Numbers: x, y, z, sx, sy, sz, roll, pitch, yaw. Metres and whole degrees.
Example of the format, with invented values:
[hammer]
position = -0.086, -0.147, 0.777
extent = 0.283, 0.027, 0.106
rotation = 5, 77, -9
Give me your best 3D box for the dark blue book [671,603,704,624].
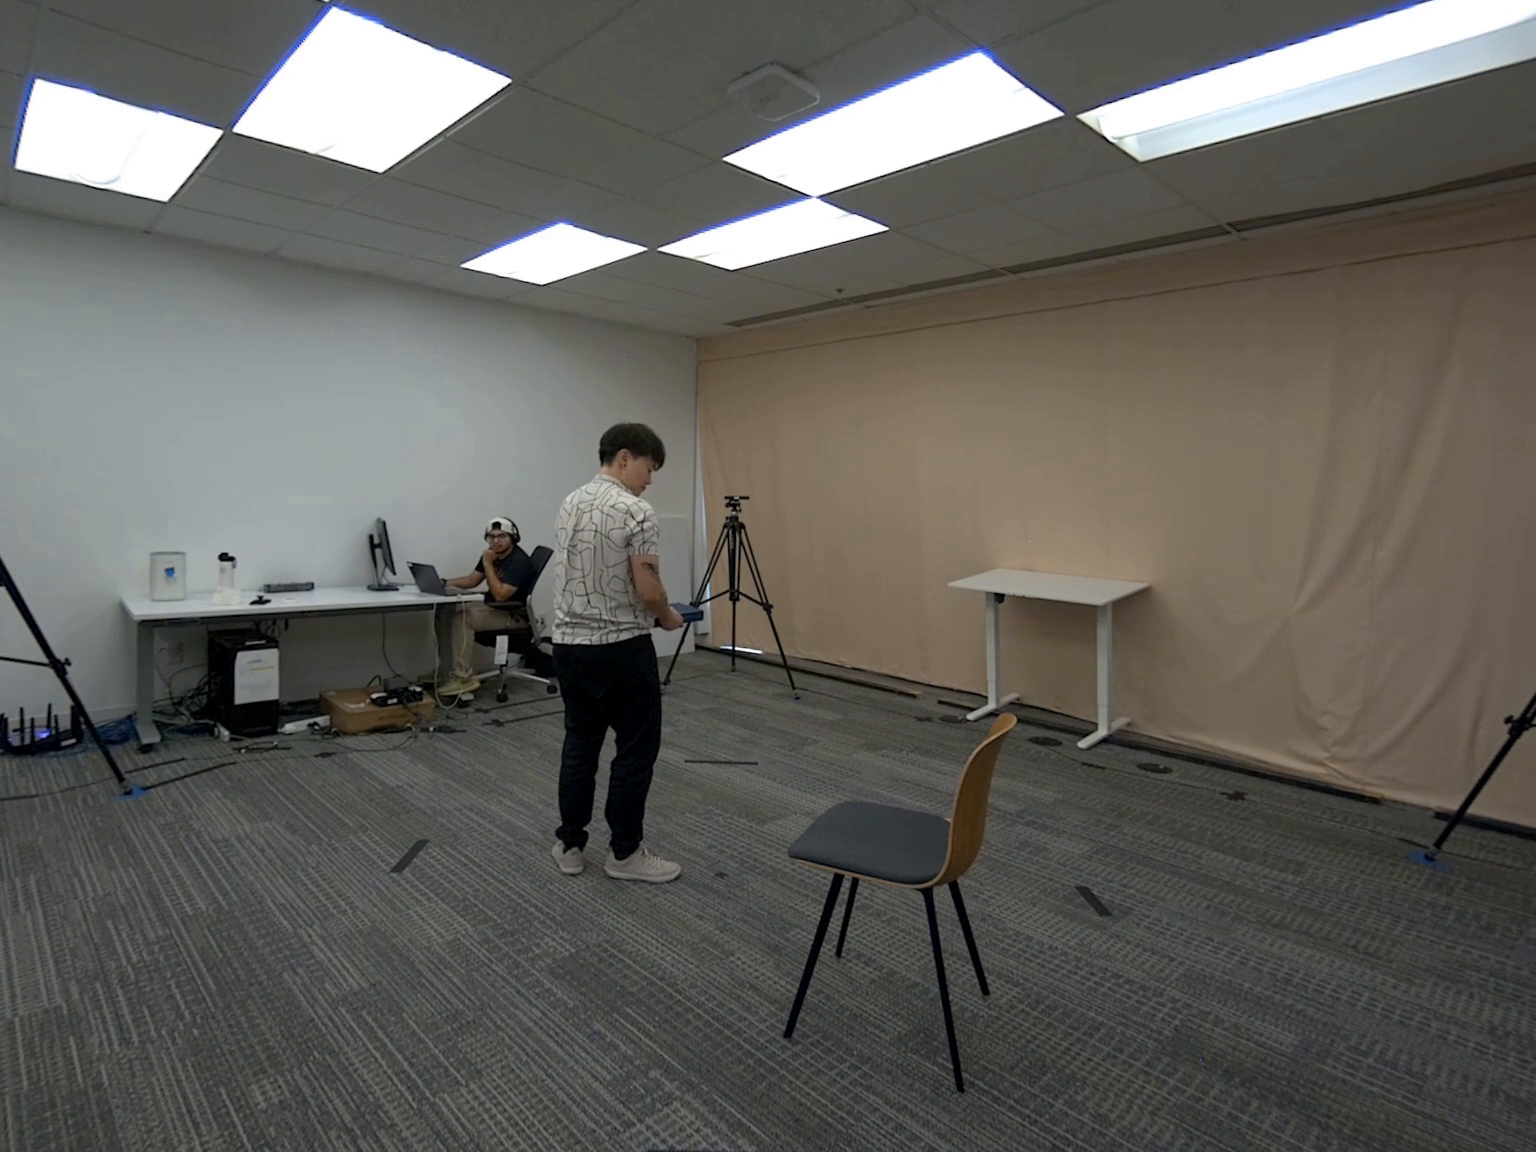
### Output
[dark blue book]
position = -0.399, 0.160, 3.285
extent = 0.240, 0.045, 0.168
rotation = -10, 15, -44
